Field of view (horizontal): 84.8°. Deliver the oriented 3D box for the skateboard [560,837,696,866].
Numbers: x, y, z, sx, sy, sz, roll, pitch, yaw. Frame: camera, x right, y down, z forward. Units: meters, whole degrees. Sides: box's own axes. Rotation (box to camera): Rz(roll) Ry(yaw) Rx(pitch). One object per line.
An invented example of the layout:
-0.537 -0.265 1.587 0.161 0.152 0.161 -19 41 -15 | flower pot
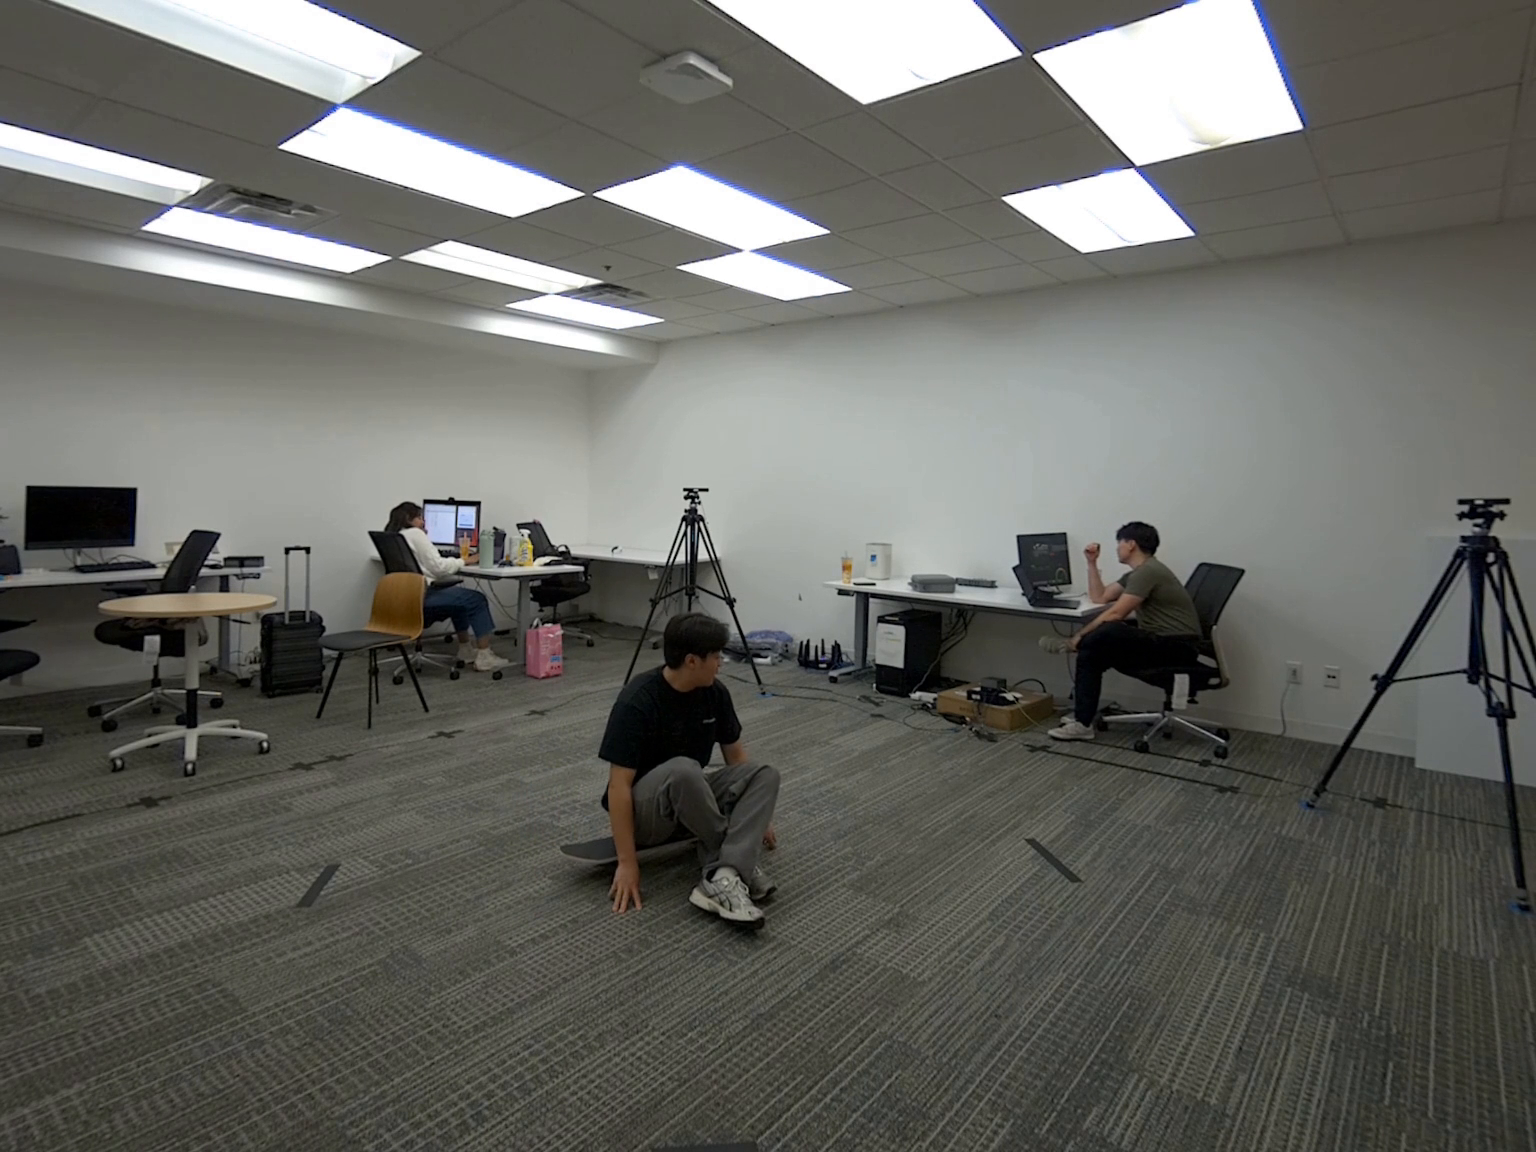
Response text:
-0.410 1.005 3.187 0.763 0.110 0.199 -2 1 -33 | skateboard
